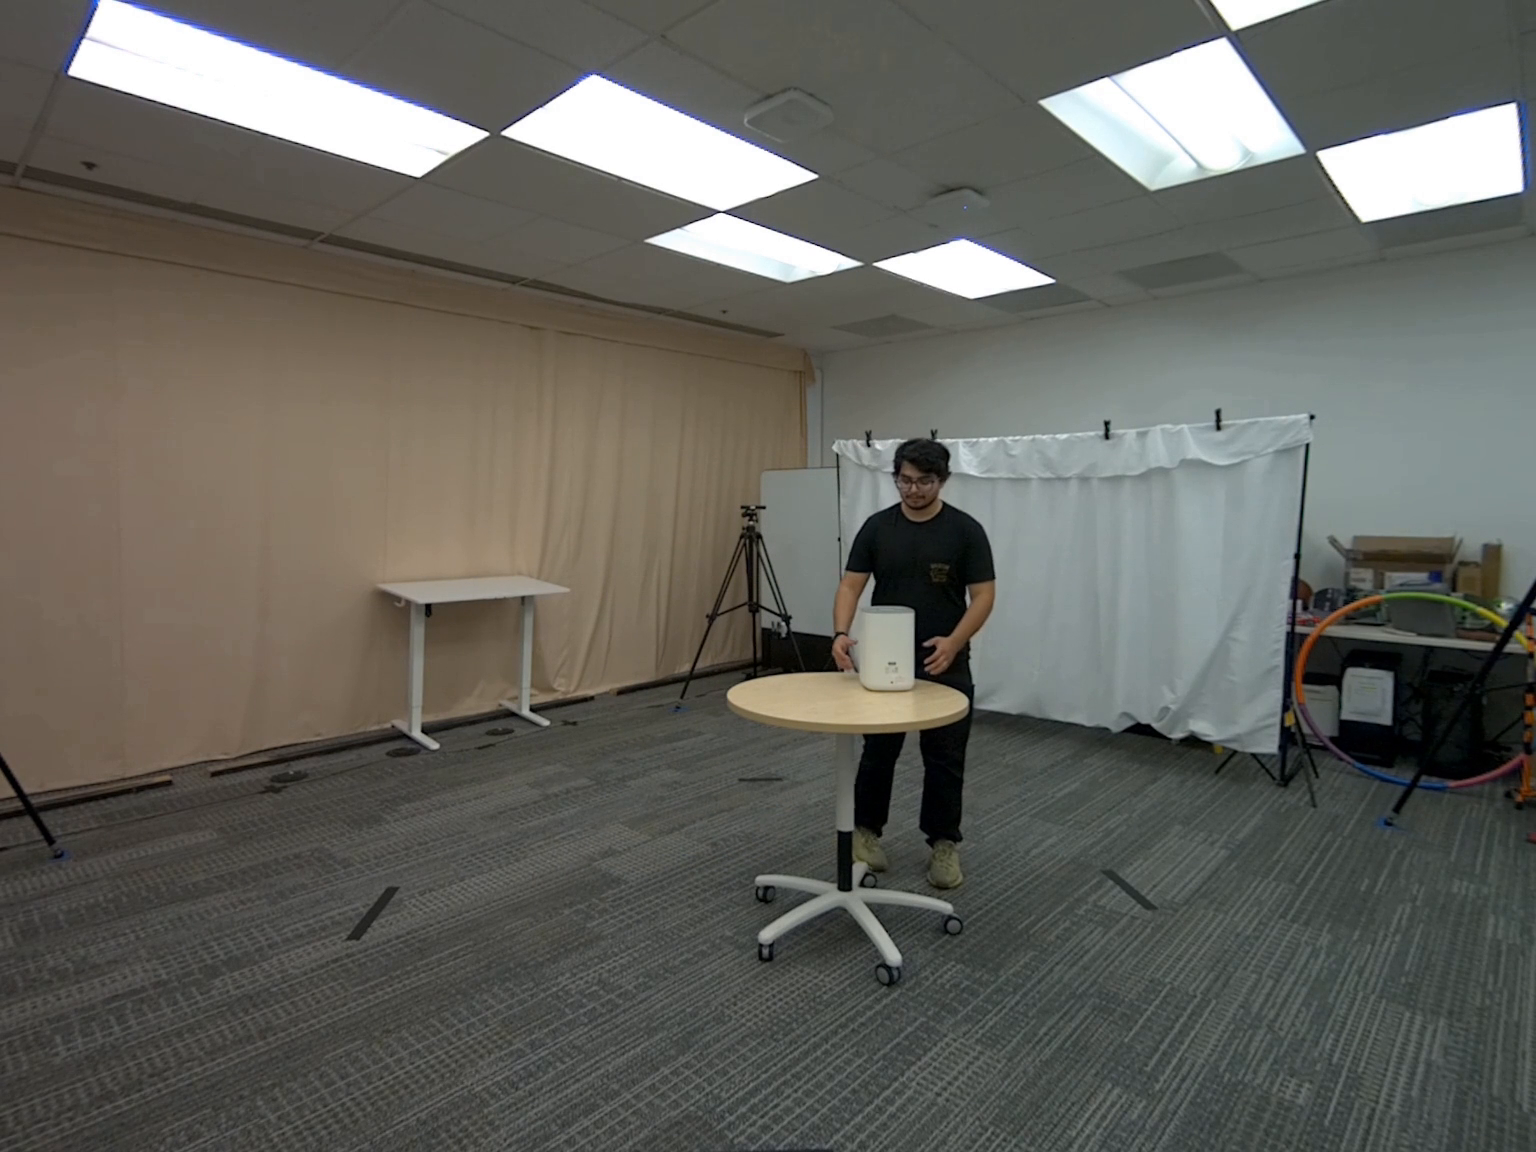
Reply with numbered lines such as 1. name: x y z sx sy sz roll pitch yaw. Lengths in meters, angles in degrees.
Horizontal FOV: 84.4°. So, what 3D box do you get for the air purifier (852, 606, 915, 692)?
1. air purifier: 0.396 0.240 2.824 0.171 0.265 0.172 -1 3 -2
